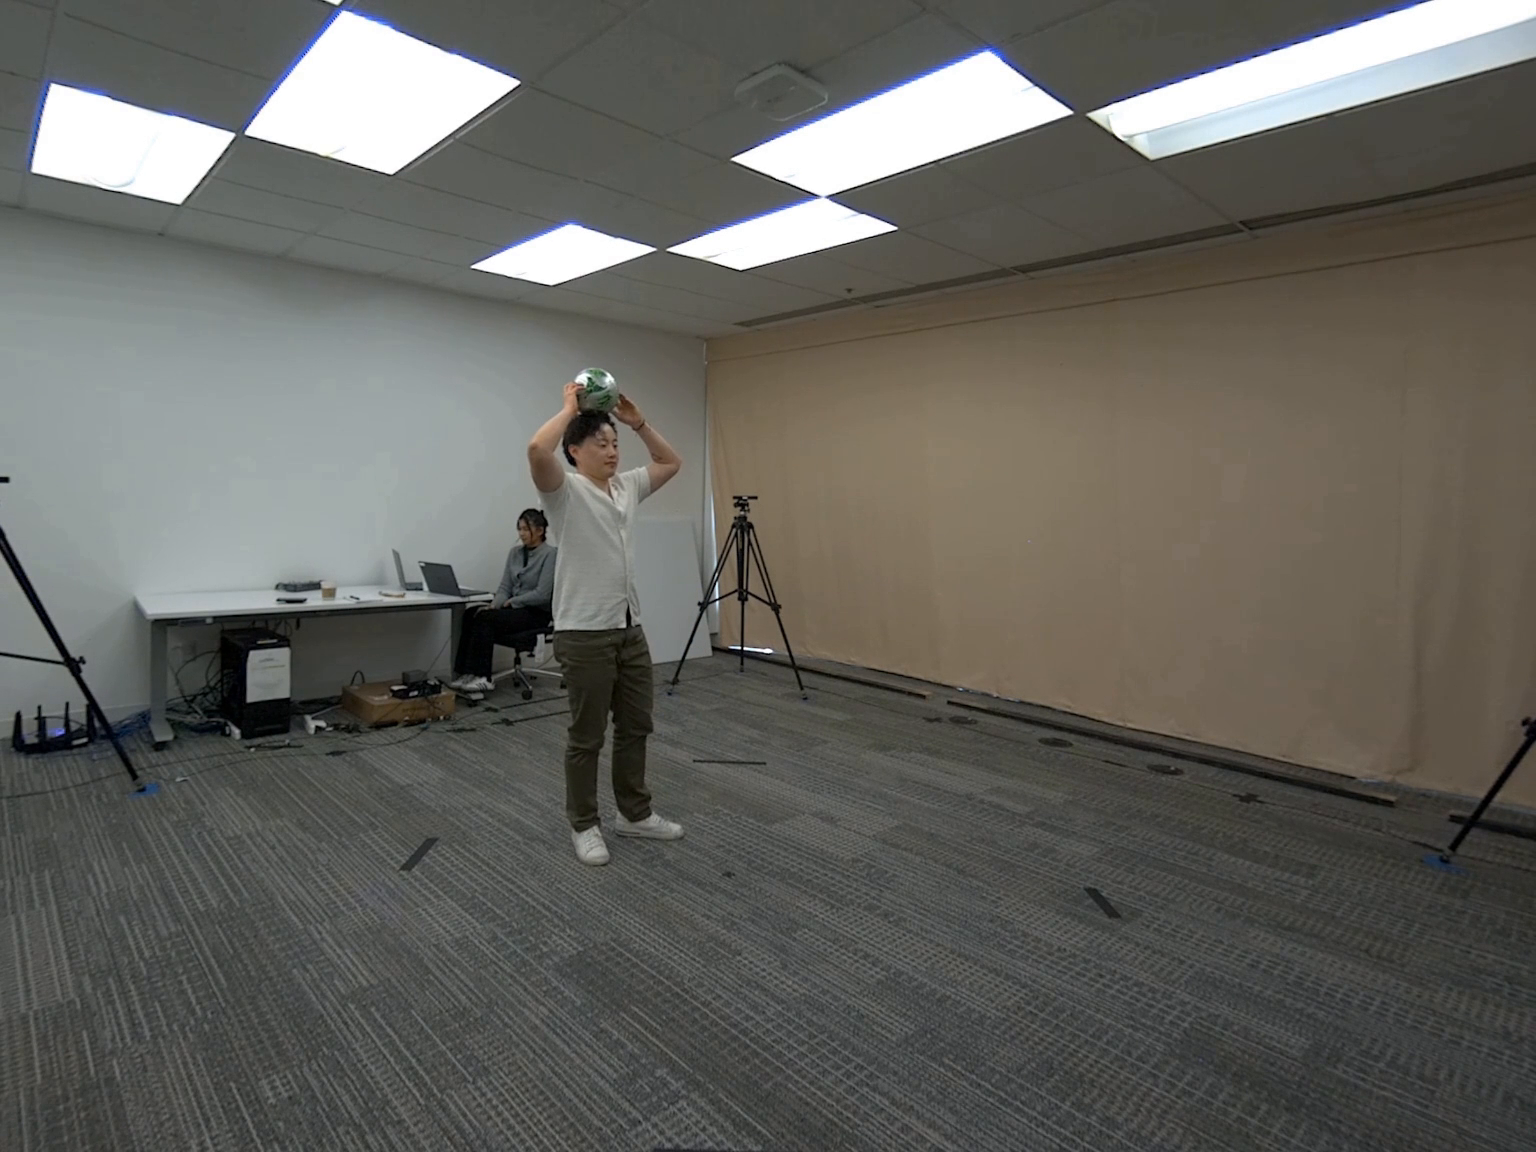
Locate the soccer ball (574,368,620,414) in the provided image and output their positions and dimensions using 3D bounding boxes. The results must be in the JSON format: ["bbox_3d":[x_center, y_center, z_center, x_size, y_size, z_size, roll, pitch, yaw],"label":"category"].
[{"bbox_3d":[-0.677,-0.693,3.208,0.187,0.187,0.188,1,4,-1],"label":"soccer ball"}]
